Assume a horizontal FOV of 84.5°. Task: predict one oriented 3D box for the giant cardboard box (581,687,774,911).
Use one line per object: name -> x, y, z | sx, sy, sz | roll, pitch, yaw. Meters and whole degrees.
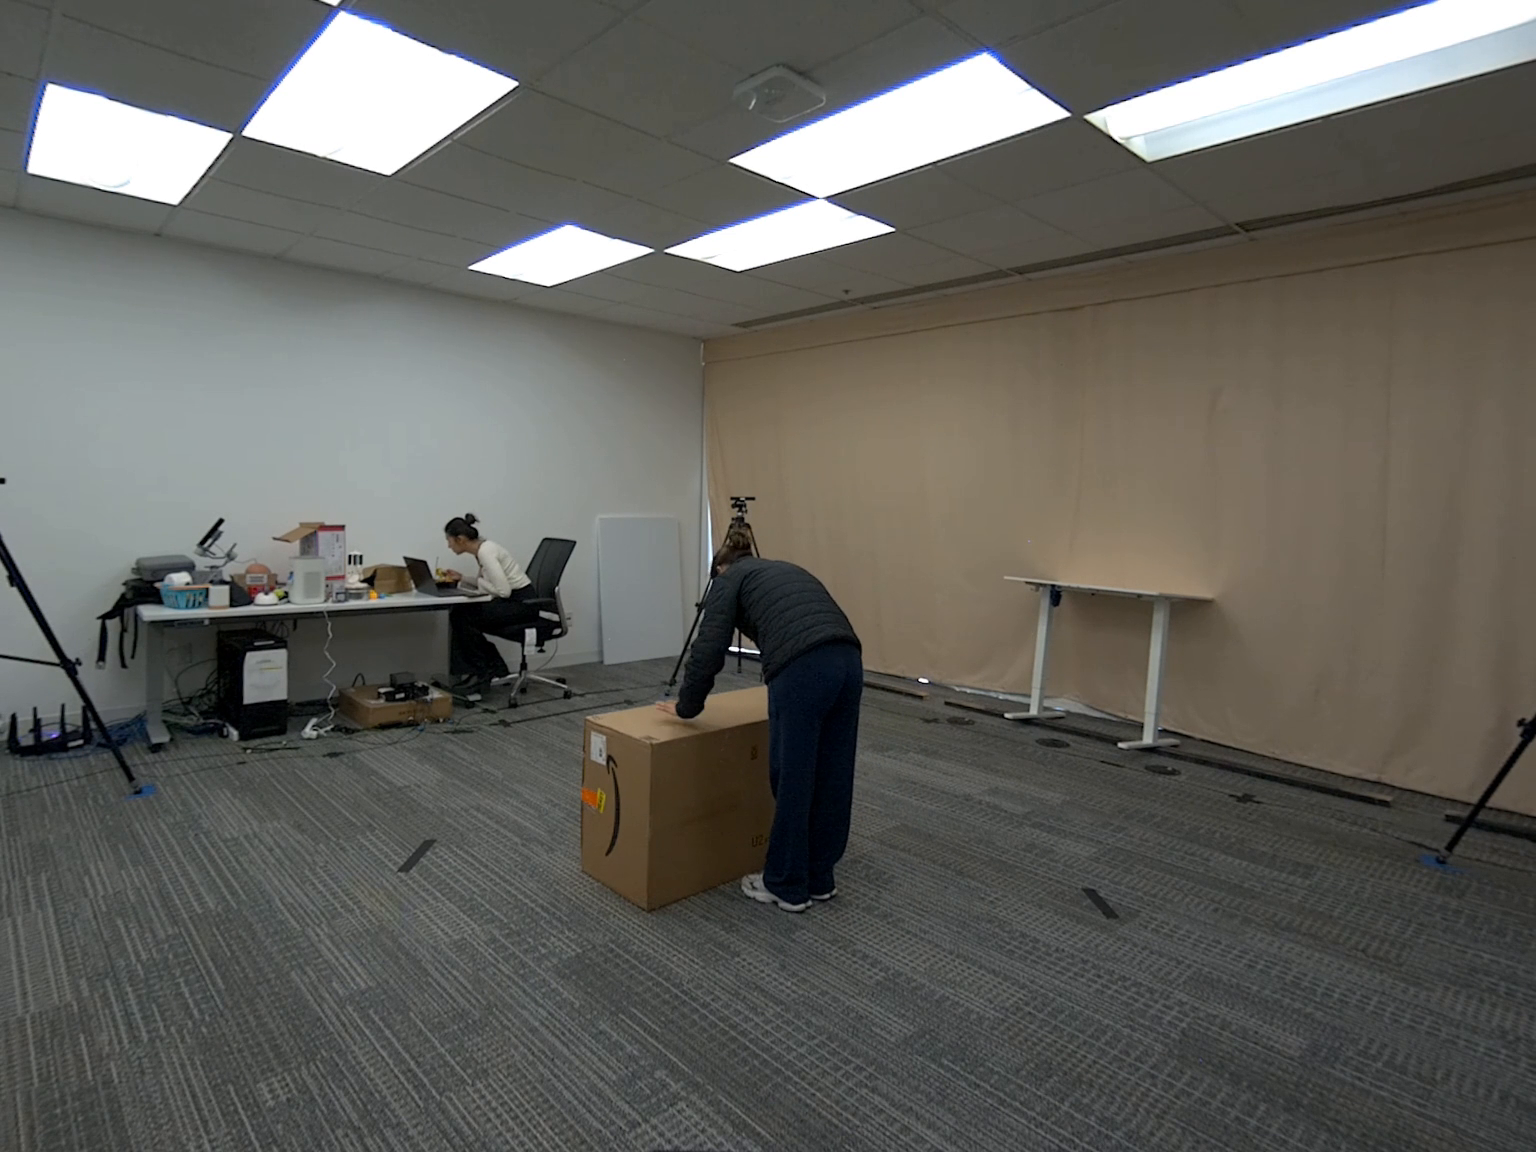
giant cardboard box -> -0.183, 0.803, 3.282 | 1.003, 0.582, 0.458 | -2, 6, -42
